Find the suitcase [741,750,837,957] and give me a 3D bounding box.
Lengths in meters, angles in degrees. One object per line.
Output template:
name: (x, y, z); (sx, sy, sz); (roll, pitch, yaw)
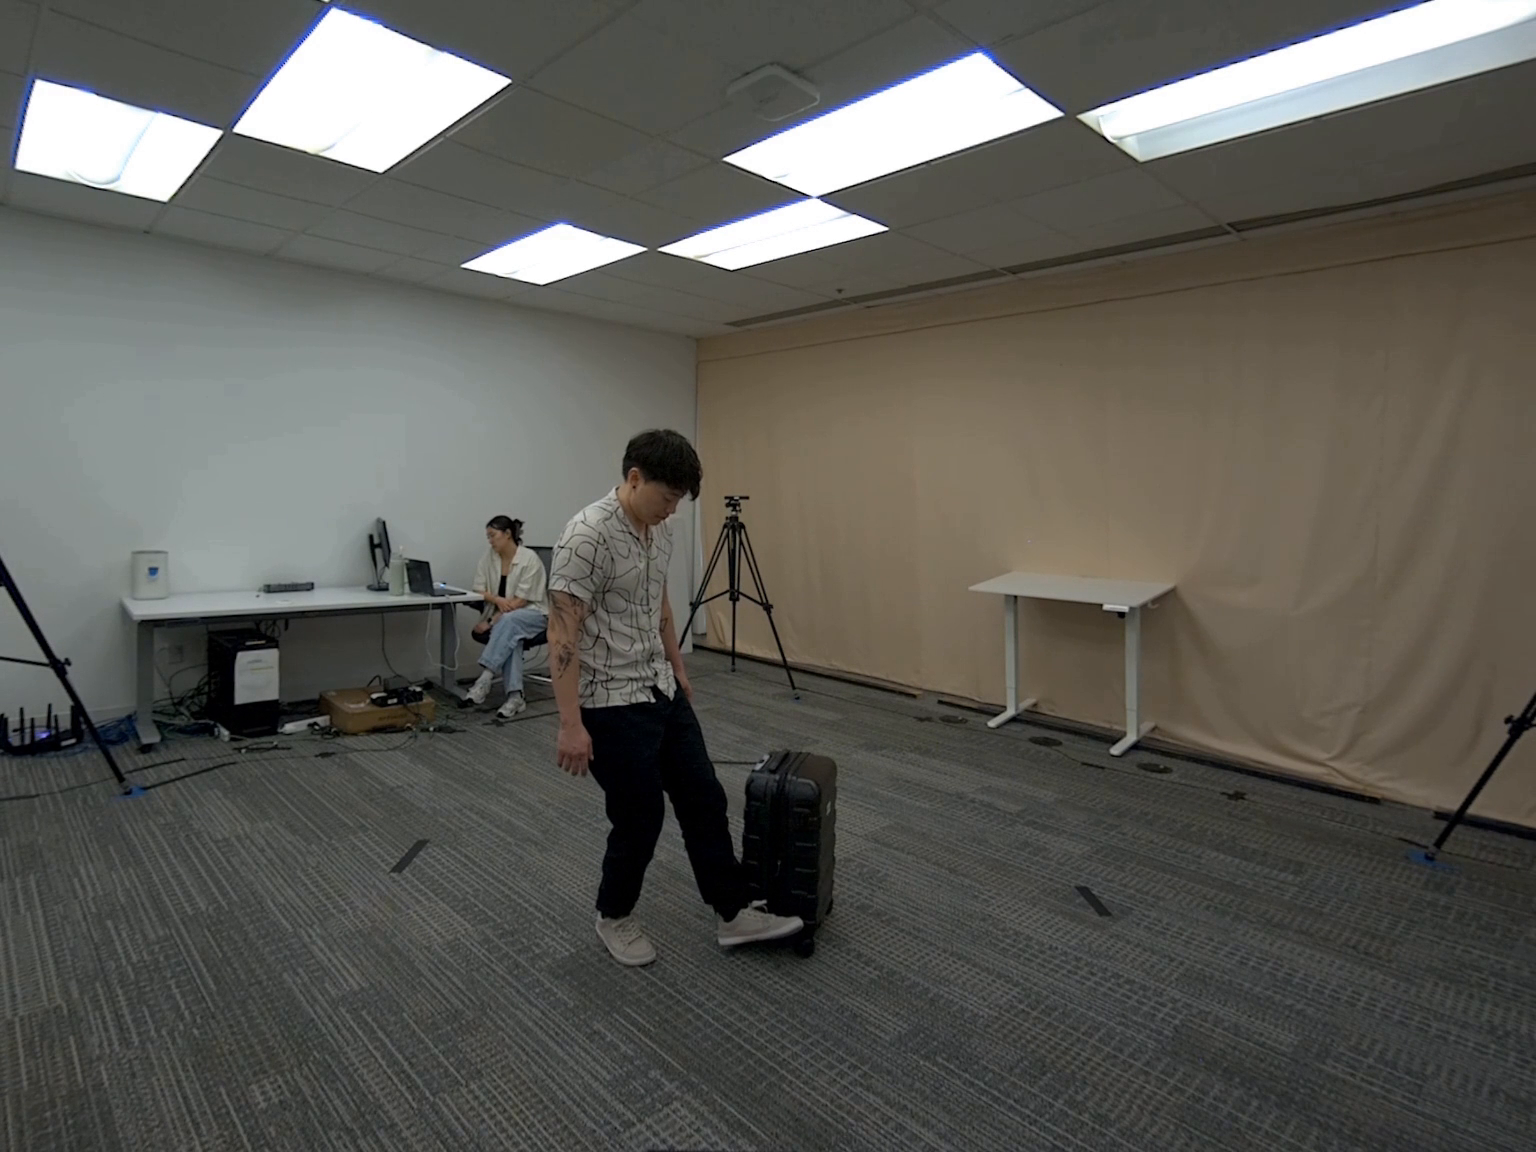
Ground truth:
suitcase: (0.066, 0.865, 2.738); (0.251, 0.548, 0.371); (3, 3, 15)
